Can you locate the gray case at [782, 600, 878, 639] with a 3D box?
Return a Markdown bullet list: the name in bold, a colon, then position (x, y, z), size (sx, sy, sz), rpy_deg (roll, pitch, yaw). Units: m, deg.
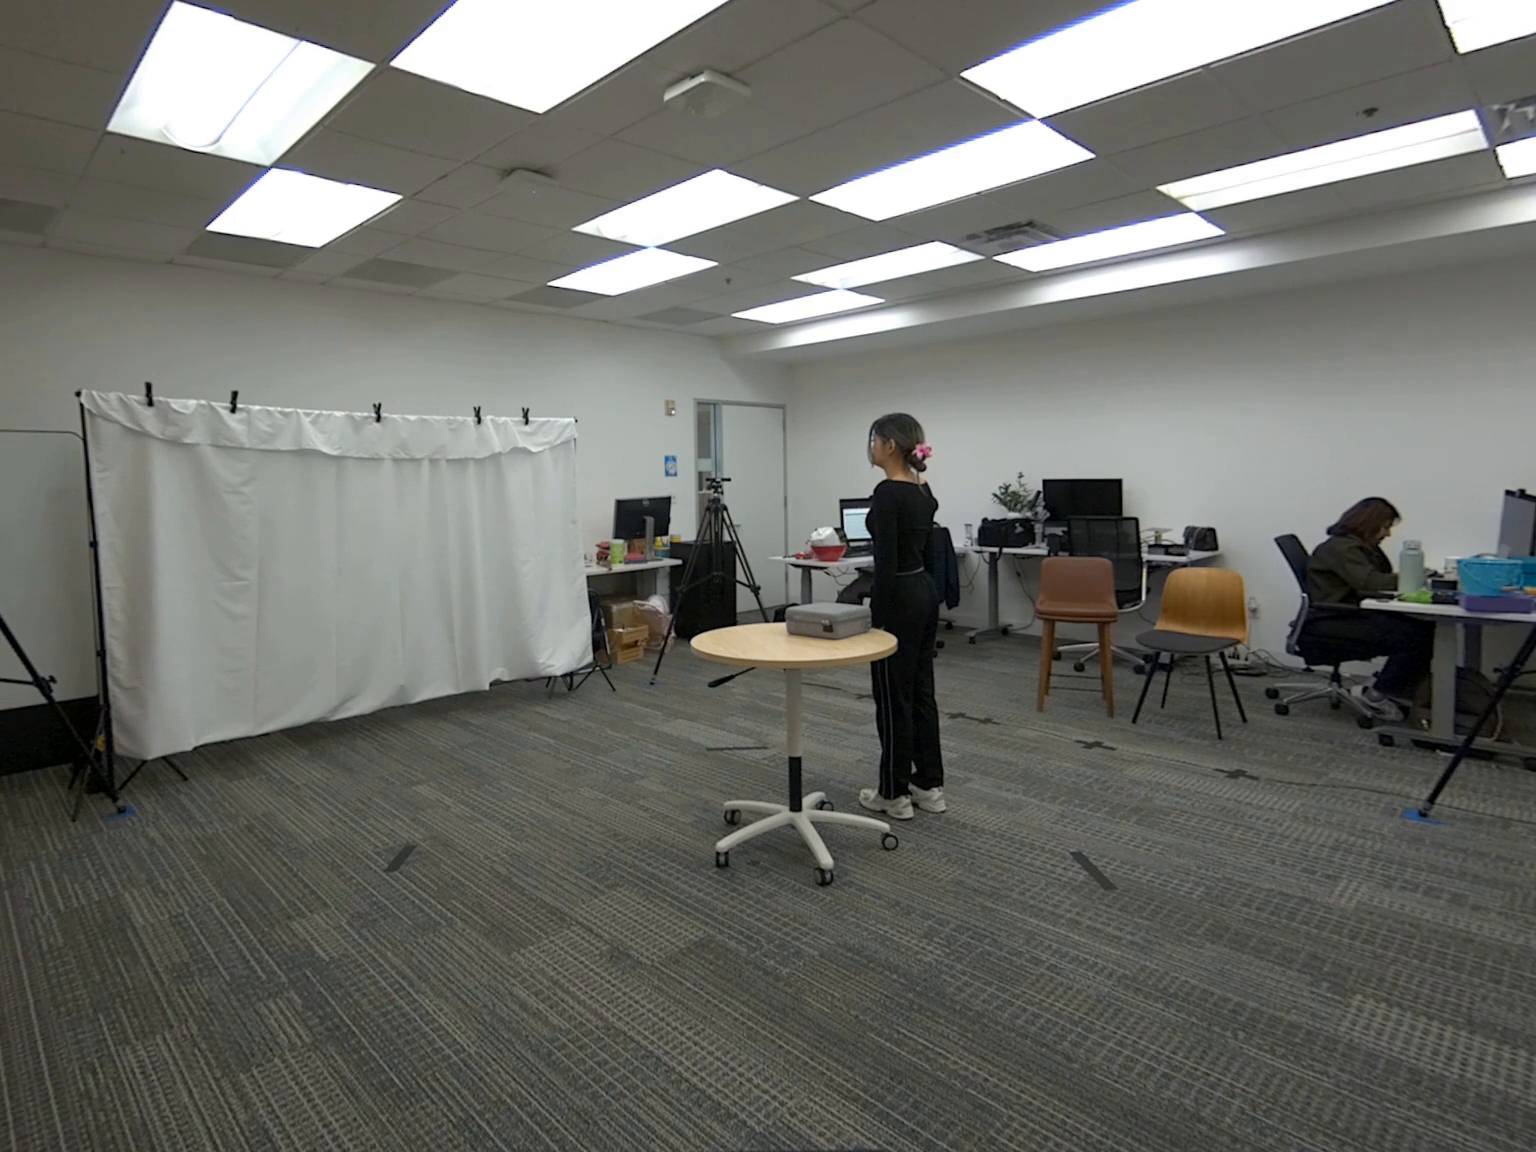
- **gray case**: position (0.239, 0.162, 3.304), size (0.264, 0.104, 0.253), rpy_deg (2, 5, 43)
